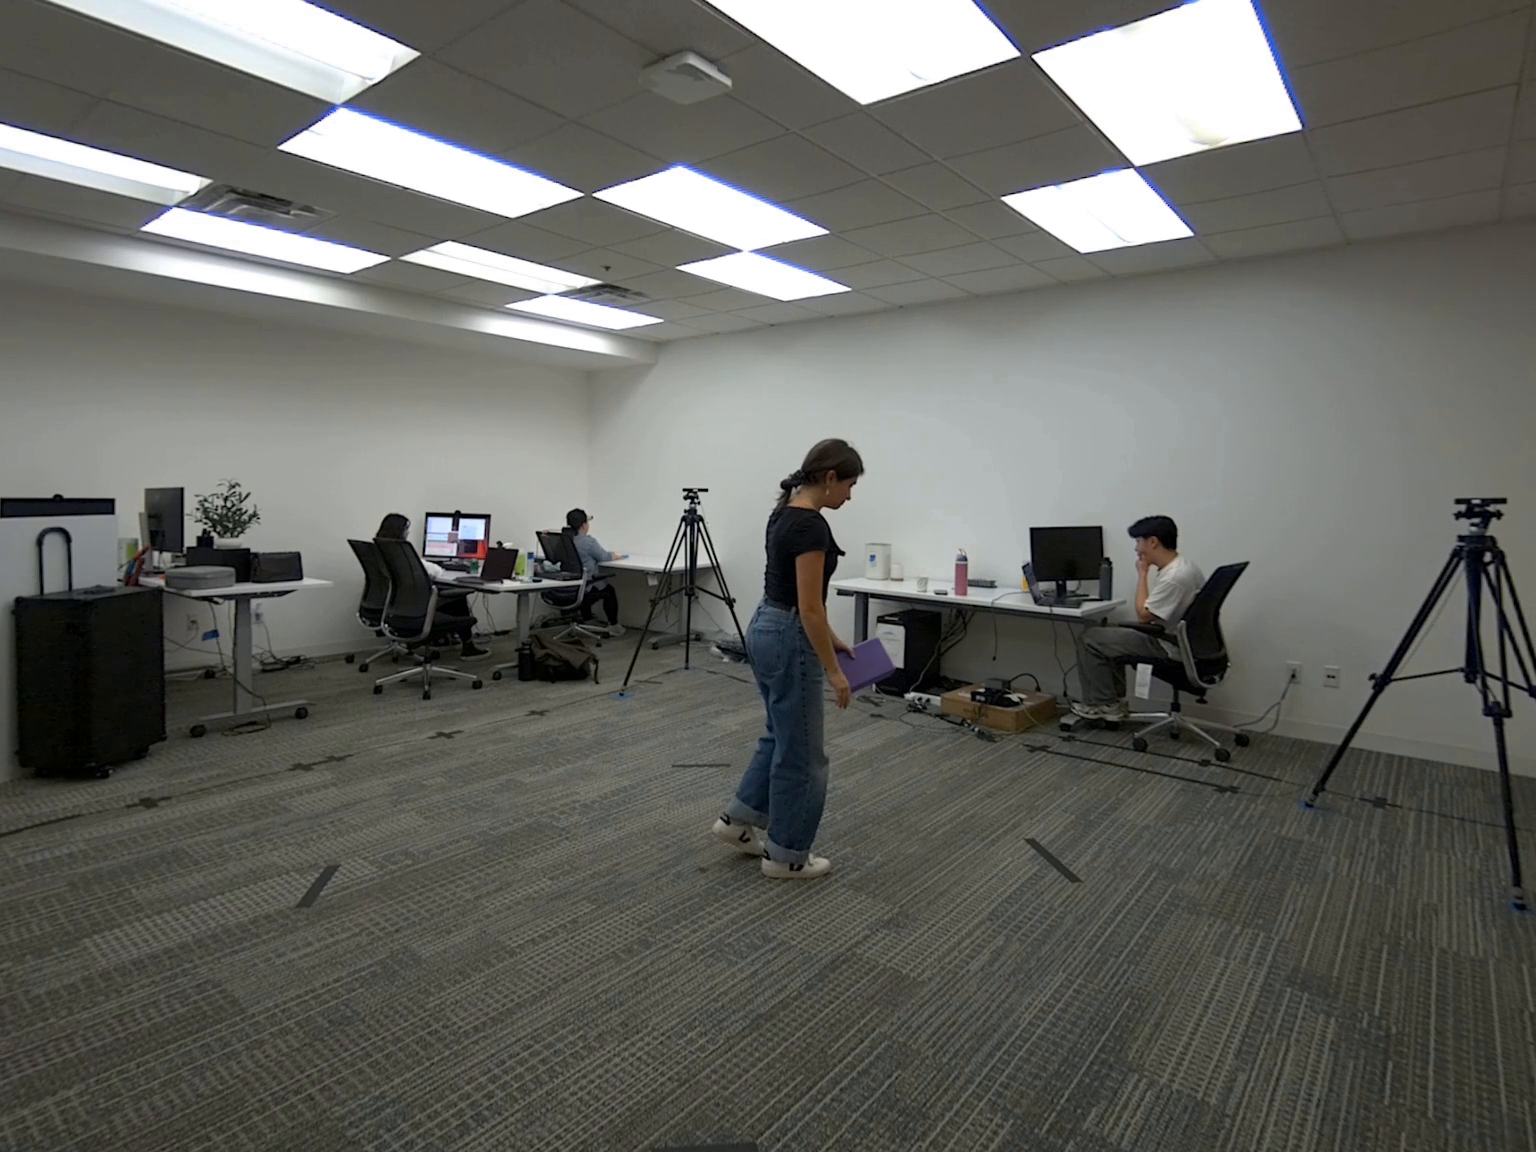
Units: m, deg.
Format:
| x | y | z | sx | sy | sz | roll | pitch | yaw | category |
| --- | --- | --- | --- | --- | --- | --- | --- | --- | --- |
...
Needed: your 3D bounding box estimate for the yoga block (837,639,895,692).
| x | y | z | sx | sy | sz | roll | pitch | yaw | category |
| --- | --- | --- | --- | --- | --- | --- | --- | --- | --- |
| 0.360 | 0.336 | 3.232 | 0.227 | 0.153 | 0.075 | -21 | -24 | -14 | yoga block |
